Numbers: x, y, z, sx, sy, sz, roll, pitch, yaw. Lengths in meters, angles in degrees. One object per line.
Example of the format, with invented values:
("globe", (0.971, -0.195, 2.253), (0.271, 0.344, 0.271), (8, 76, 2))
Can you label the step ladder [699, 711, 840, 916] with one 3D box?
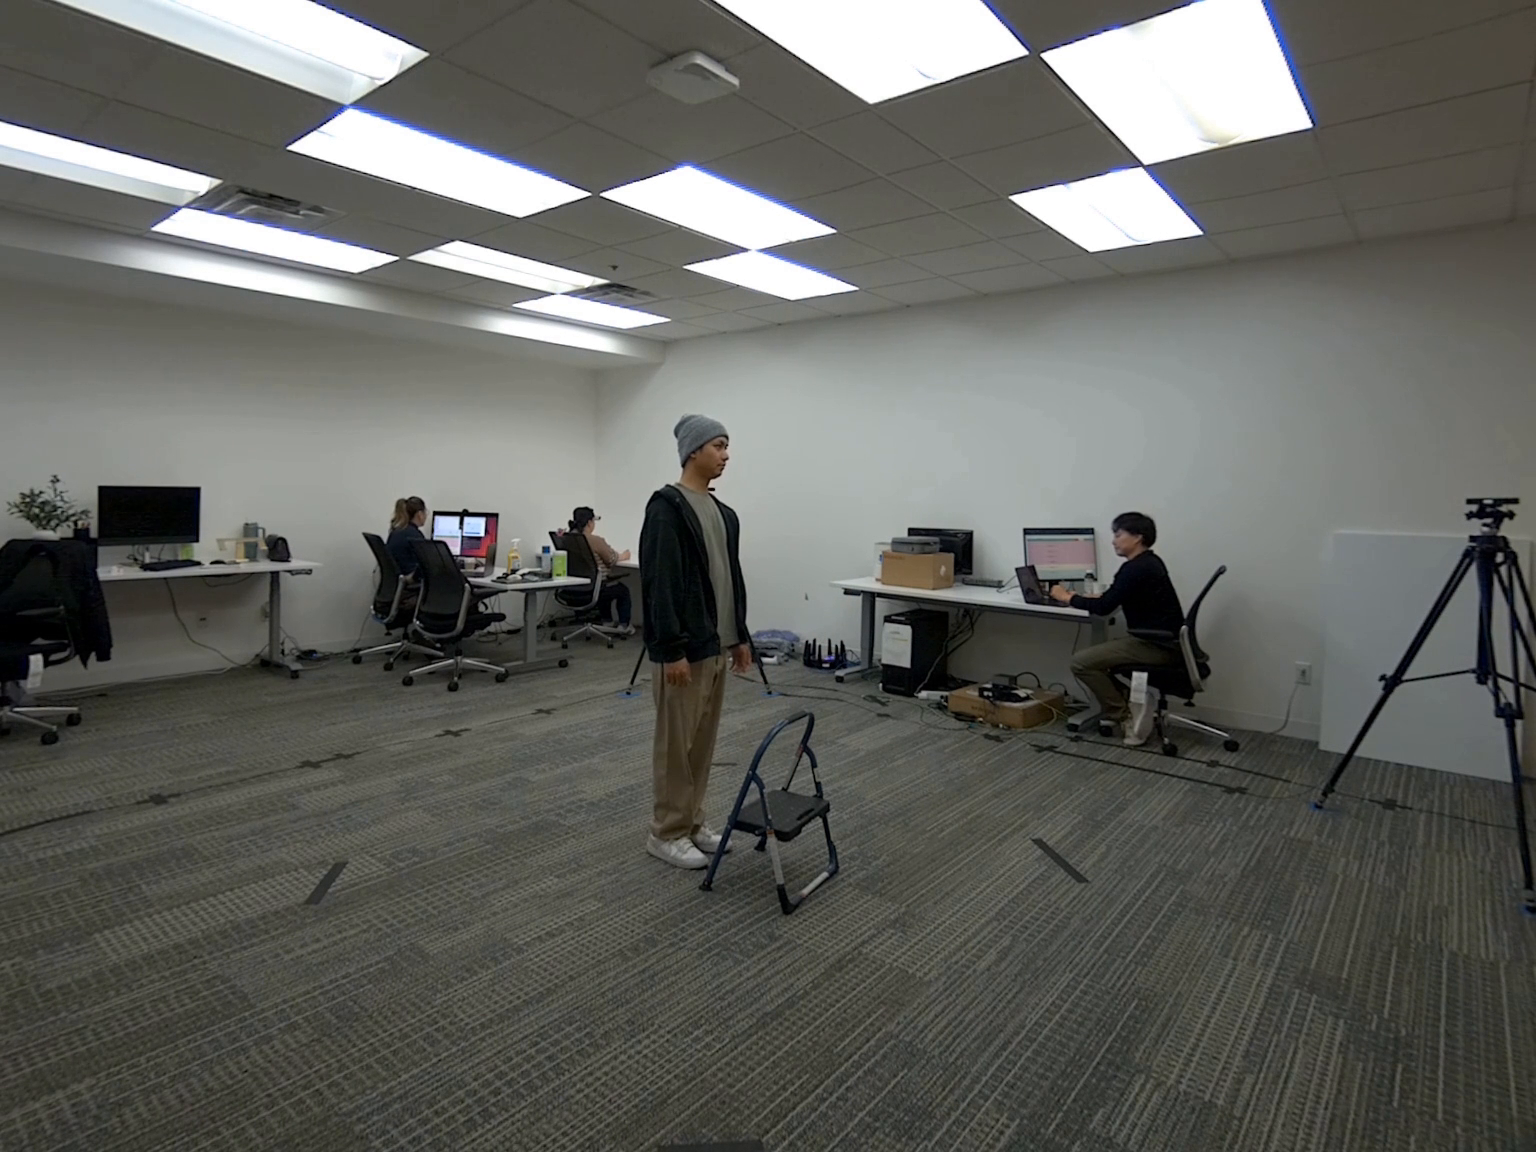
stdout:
("step ladder", (0.015, 0.776, 3.018), (0.359, 0.604, 0.420), (3, 4, 29))
